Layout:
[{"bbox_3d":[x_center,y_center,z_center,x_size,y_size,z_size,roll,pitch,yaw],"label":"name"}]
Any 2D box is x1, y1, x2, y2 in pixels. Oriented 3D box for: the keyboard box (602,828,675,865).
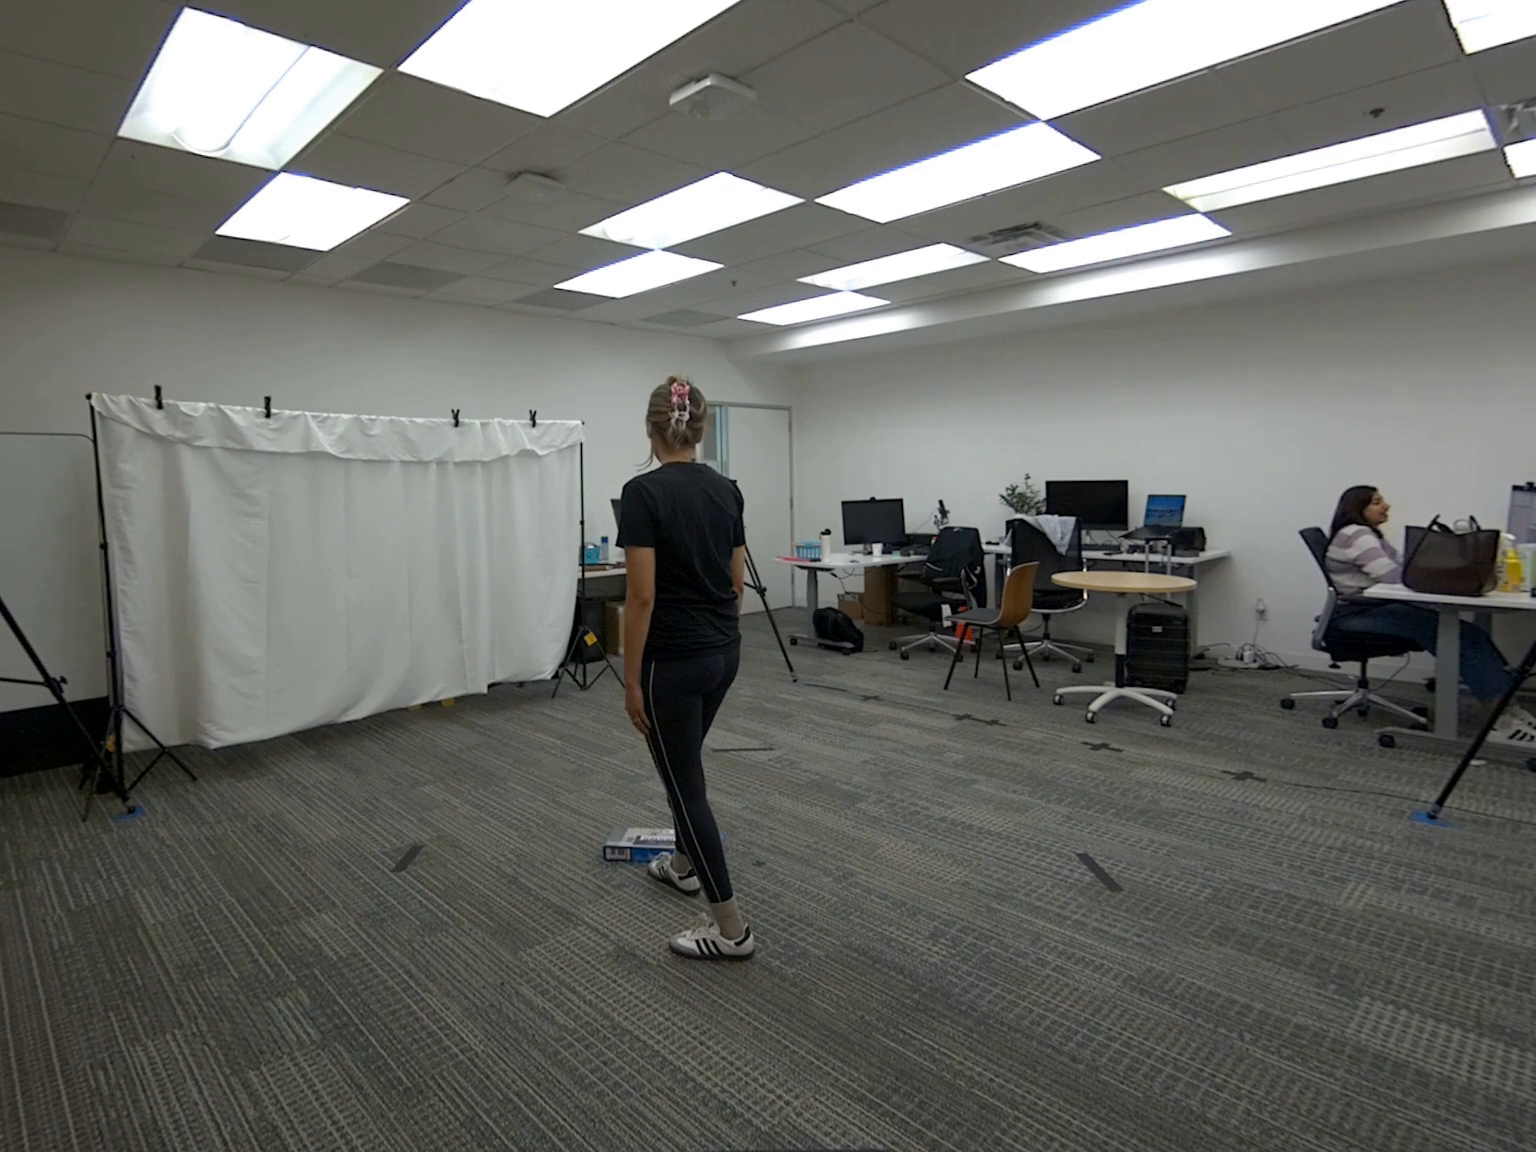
[{"bbox_3d":[-0.381,1.013,3.207,0.440,0.059,0.175,-1,5,7],"label":"keyboard box"}]
